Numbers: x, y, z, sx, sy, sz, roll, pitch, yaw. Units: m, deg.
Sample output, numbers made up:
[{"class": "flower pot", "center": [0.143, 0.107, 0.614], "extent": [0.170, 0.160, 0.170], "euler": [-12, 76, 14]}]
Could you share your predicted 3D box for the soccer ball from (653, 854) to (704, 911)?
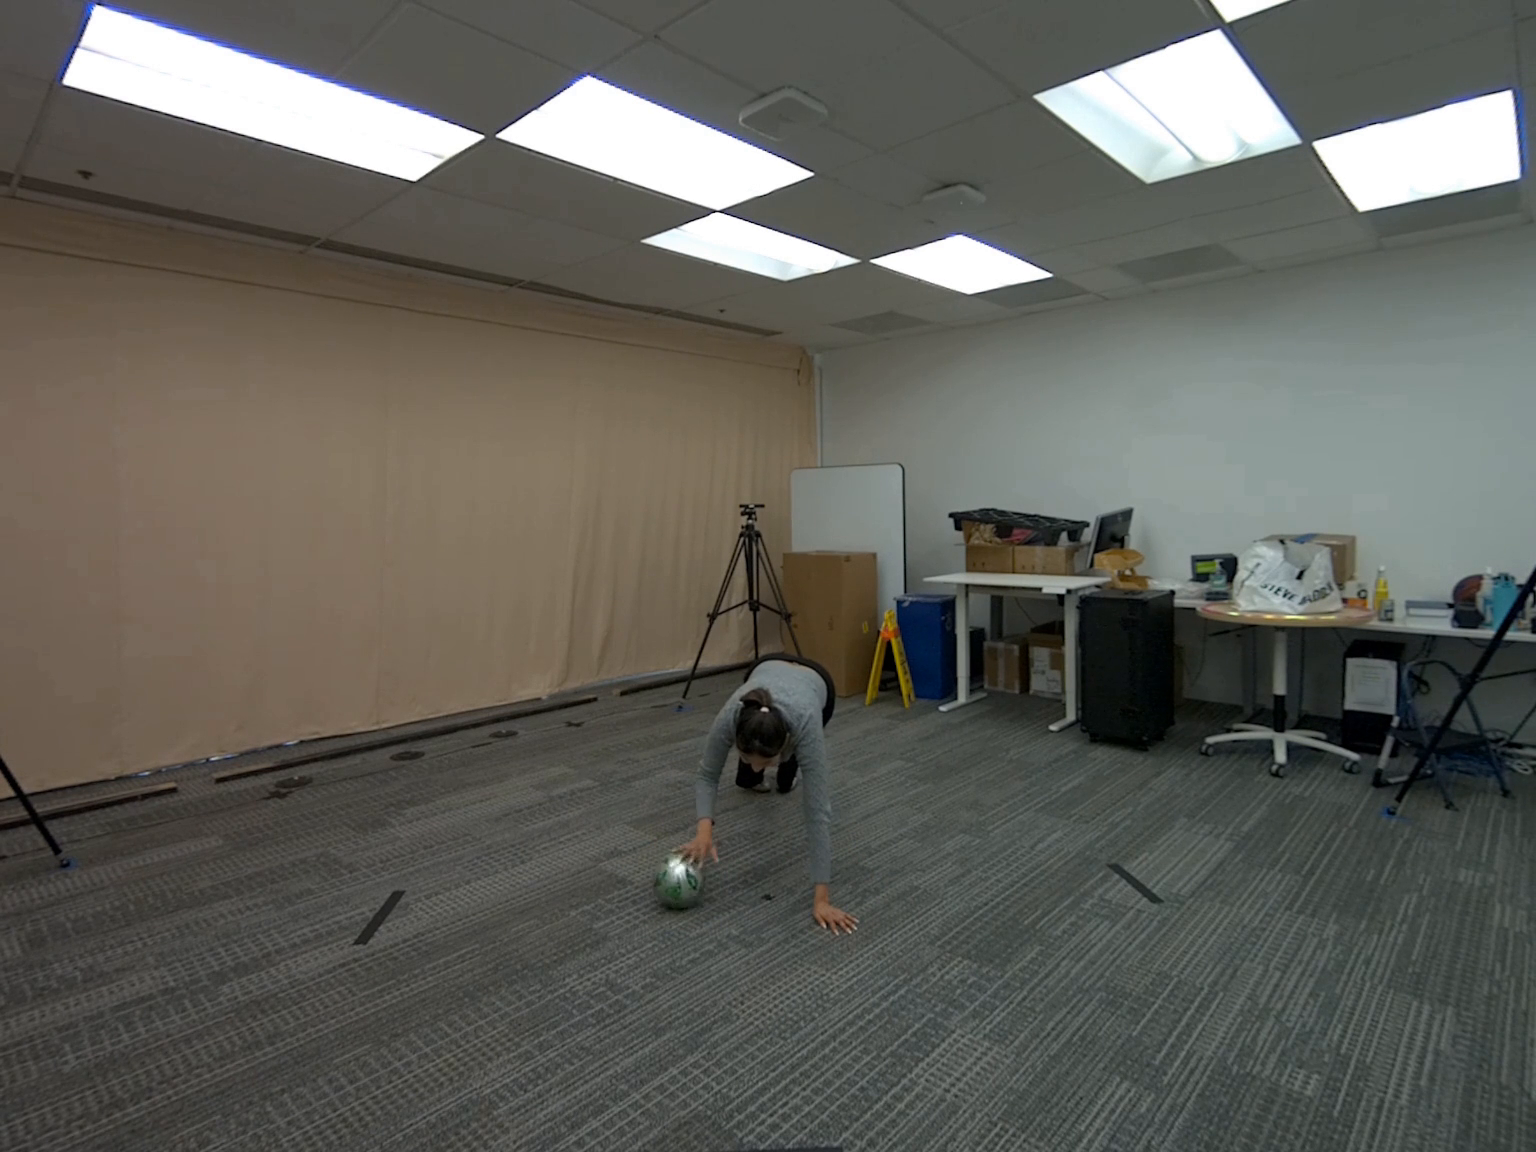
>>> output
[{"class": "soccer ball", "center": [-0.308, 1.059, 2.931], "extent": [0.187, 0.187, 0.188], "euler": [-1, 4, -2]}]
